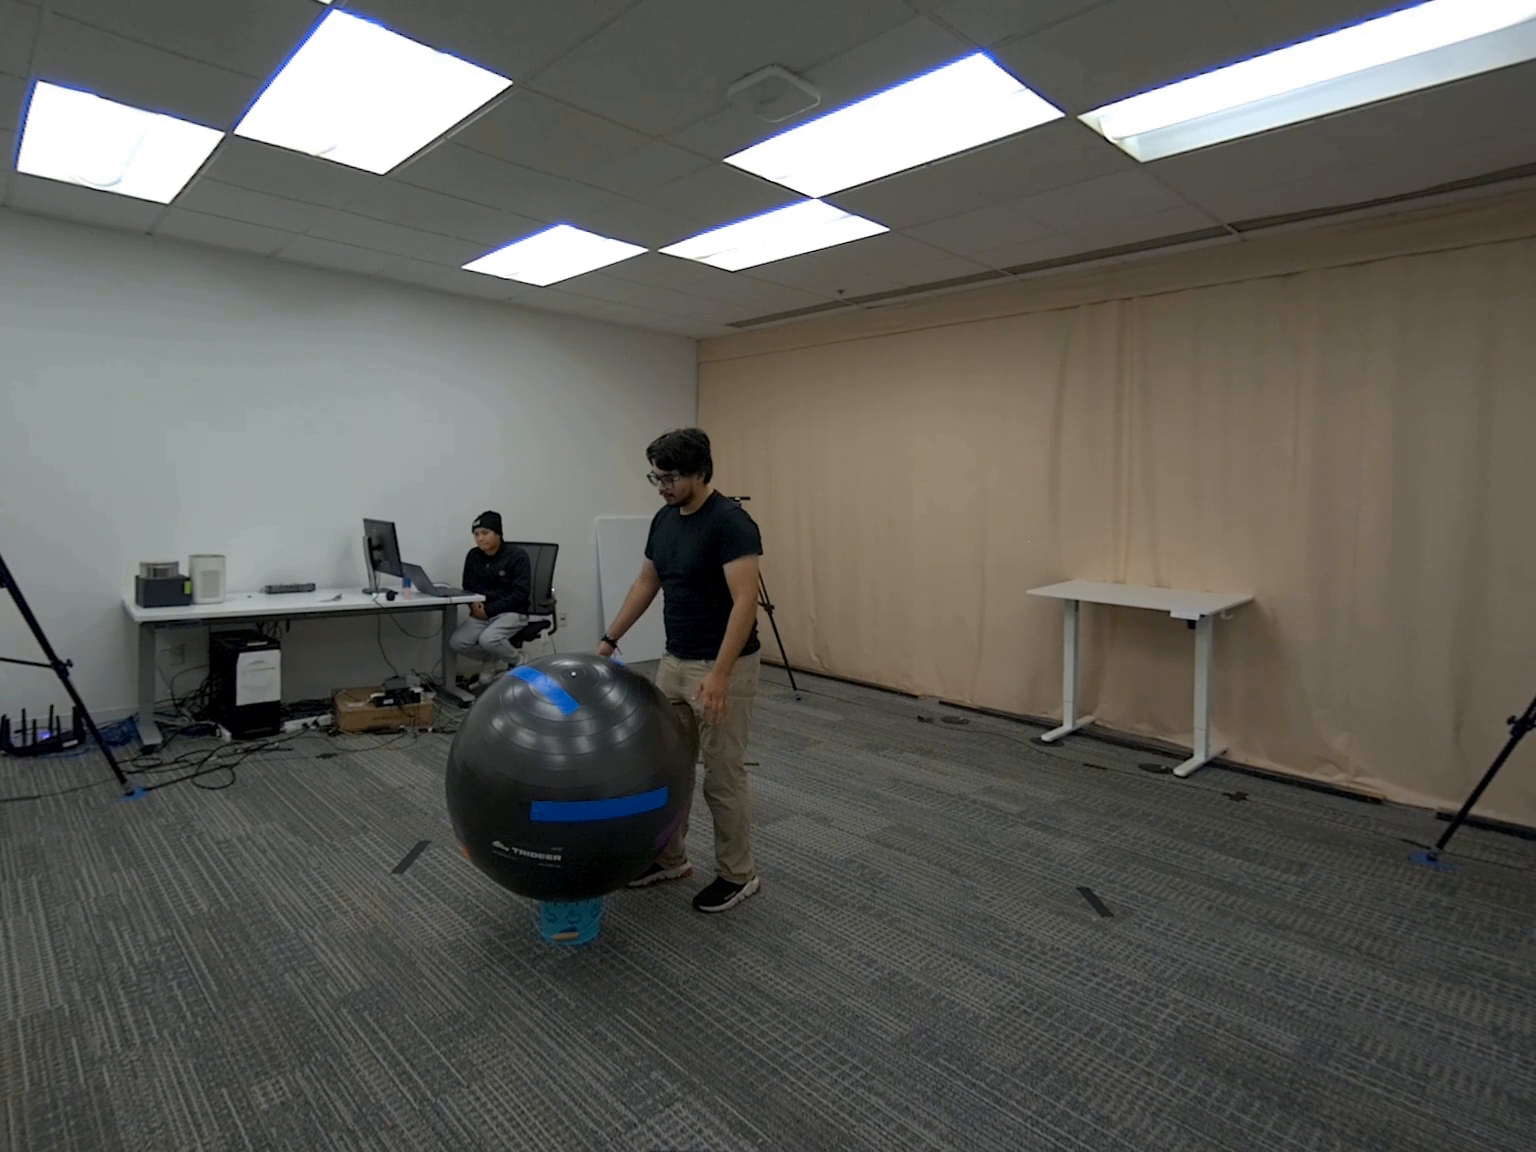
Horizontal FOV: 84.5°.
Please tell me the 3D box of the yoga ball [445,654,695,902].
[{"bbox_3d":[-0.624,0.634,2.644,0.757,0.756,0.760,1,4,-1],"label":"yoga ball"}]
